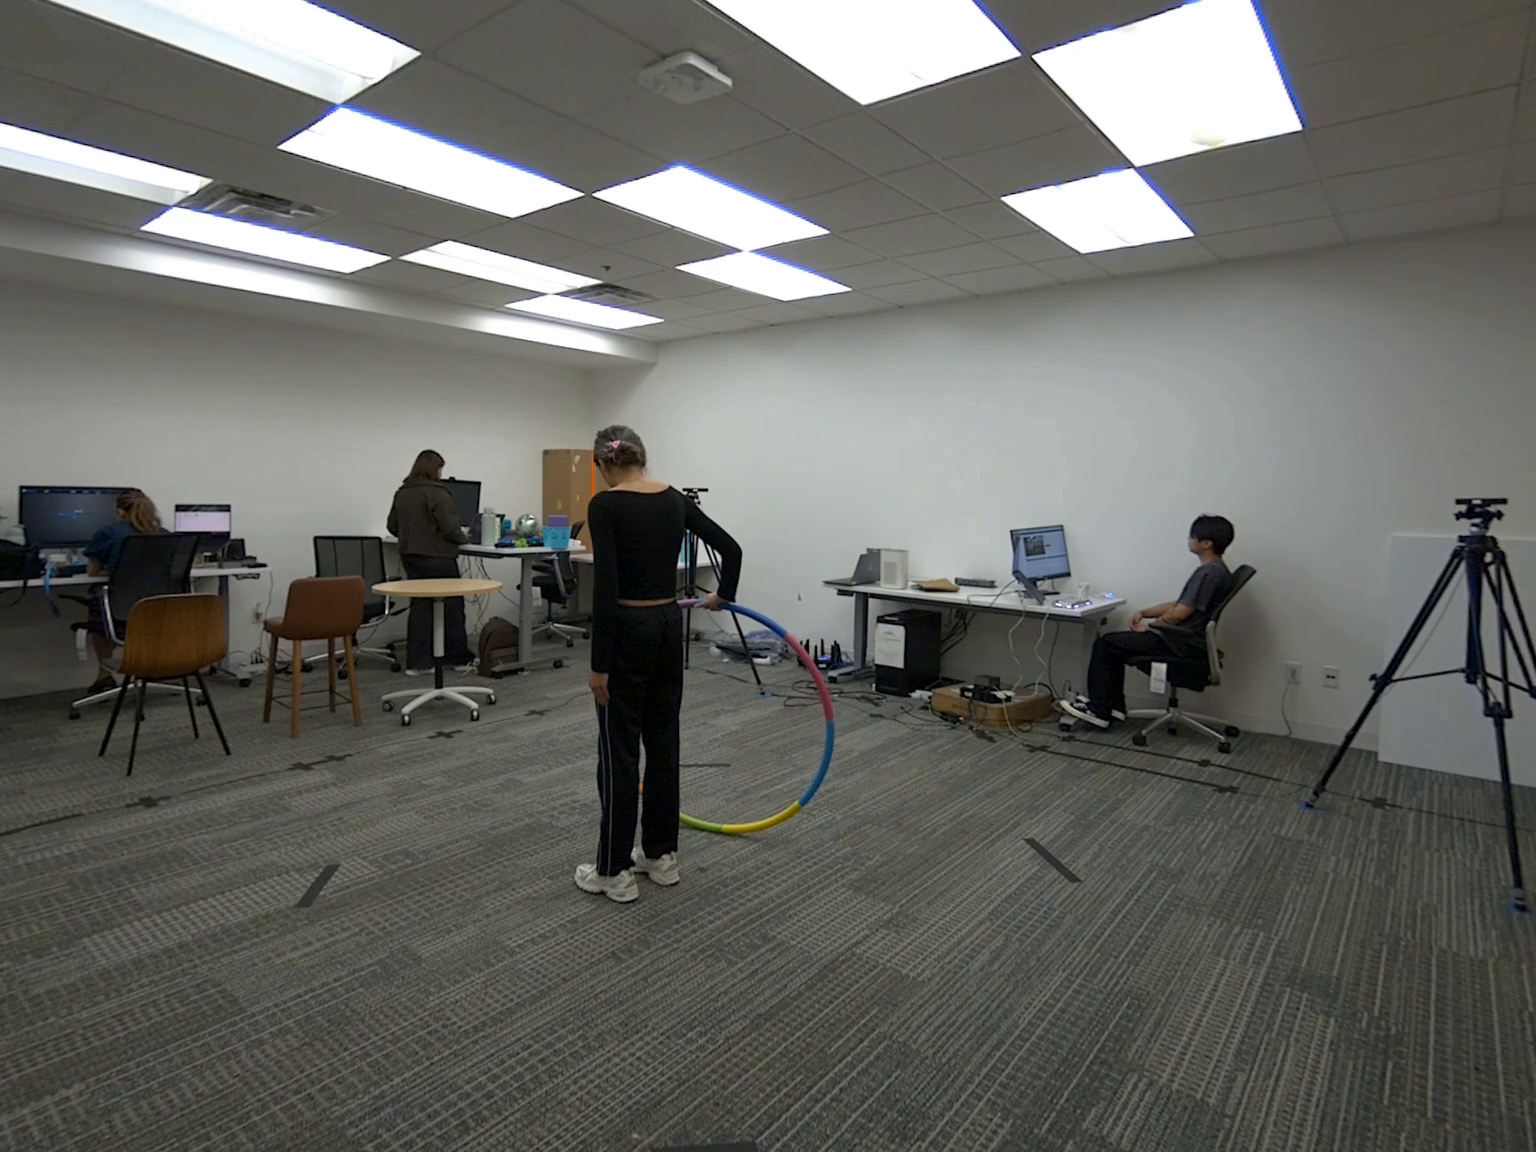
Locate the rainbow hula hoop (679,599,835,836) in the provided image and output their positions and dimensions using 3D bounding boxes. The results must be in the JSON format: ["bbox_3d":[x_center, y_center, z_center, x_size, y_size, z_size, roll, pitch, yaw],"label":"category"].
[{"bbox_3d":[-0.234,0.561,3.395,0.999,0.971,0.035,2,8,19],"label":"rainbow hula hoop"}]
